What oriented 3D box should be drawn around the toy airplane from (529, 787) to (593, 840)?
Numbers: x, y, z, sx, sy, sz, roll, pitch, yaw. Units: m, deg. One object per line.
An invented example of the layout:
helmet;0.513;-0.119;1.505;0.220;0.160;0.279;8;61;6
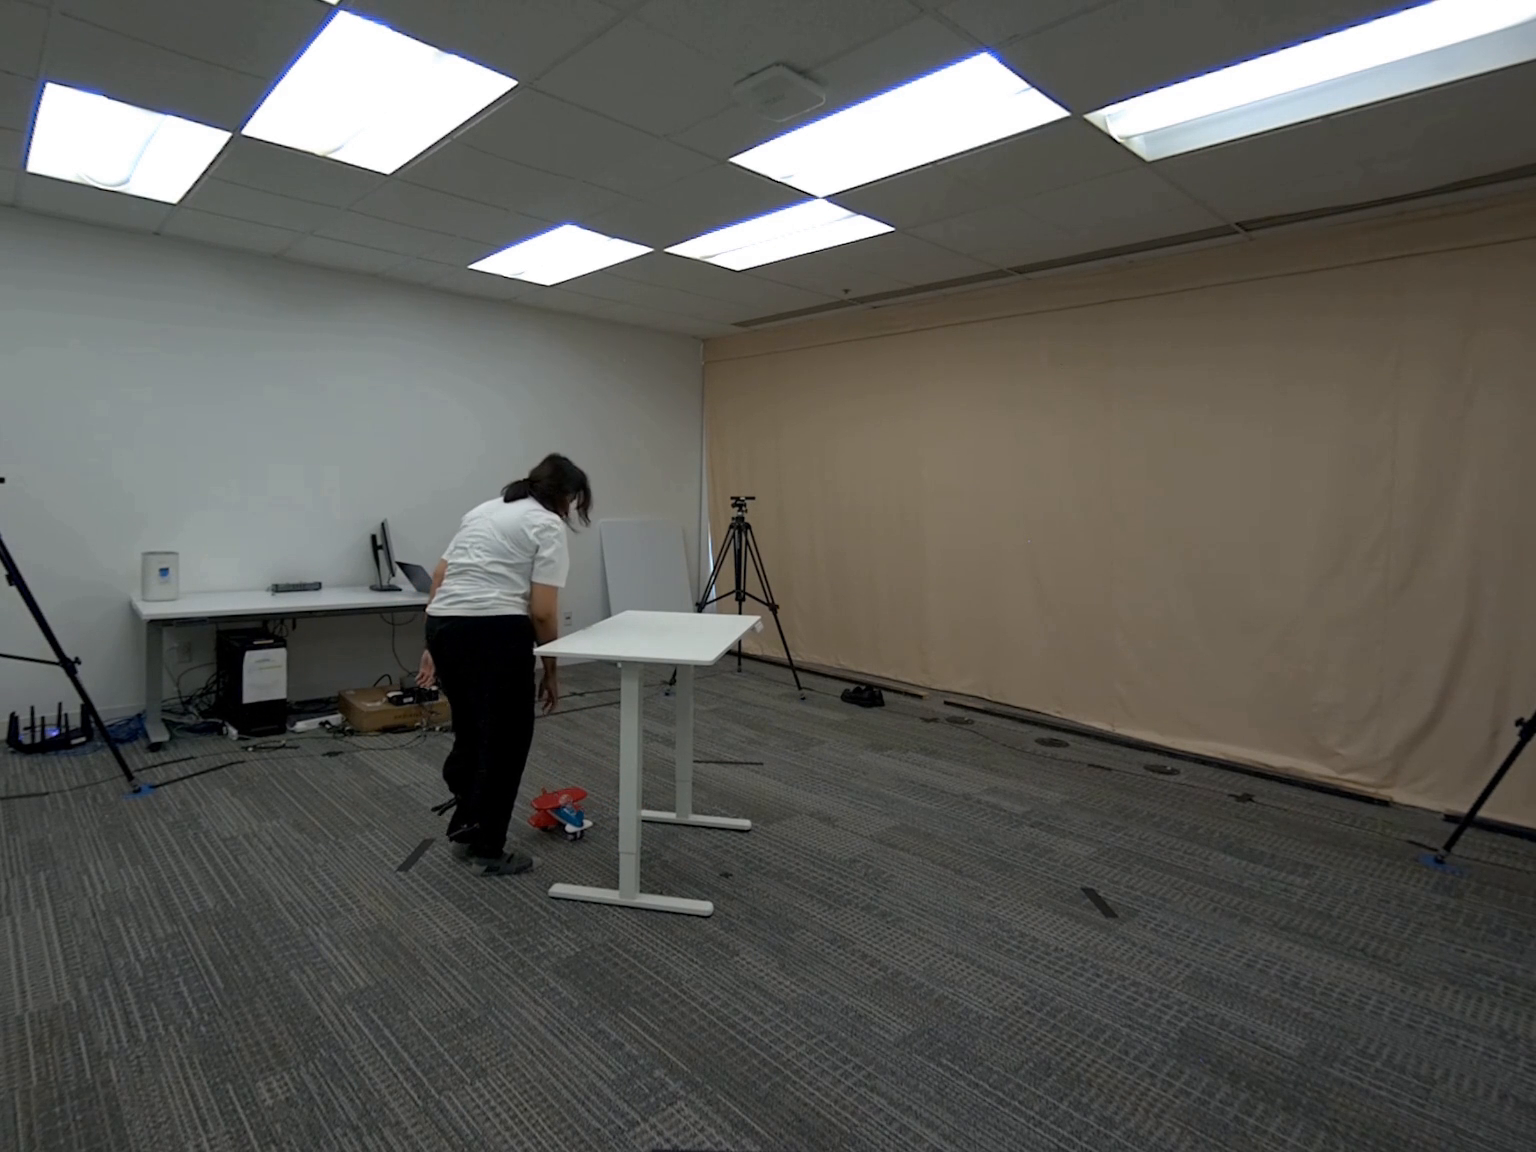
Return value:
toy airplane;-0.844;0.983;3.473;0.262;0.156;0.249;1;4;15
